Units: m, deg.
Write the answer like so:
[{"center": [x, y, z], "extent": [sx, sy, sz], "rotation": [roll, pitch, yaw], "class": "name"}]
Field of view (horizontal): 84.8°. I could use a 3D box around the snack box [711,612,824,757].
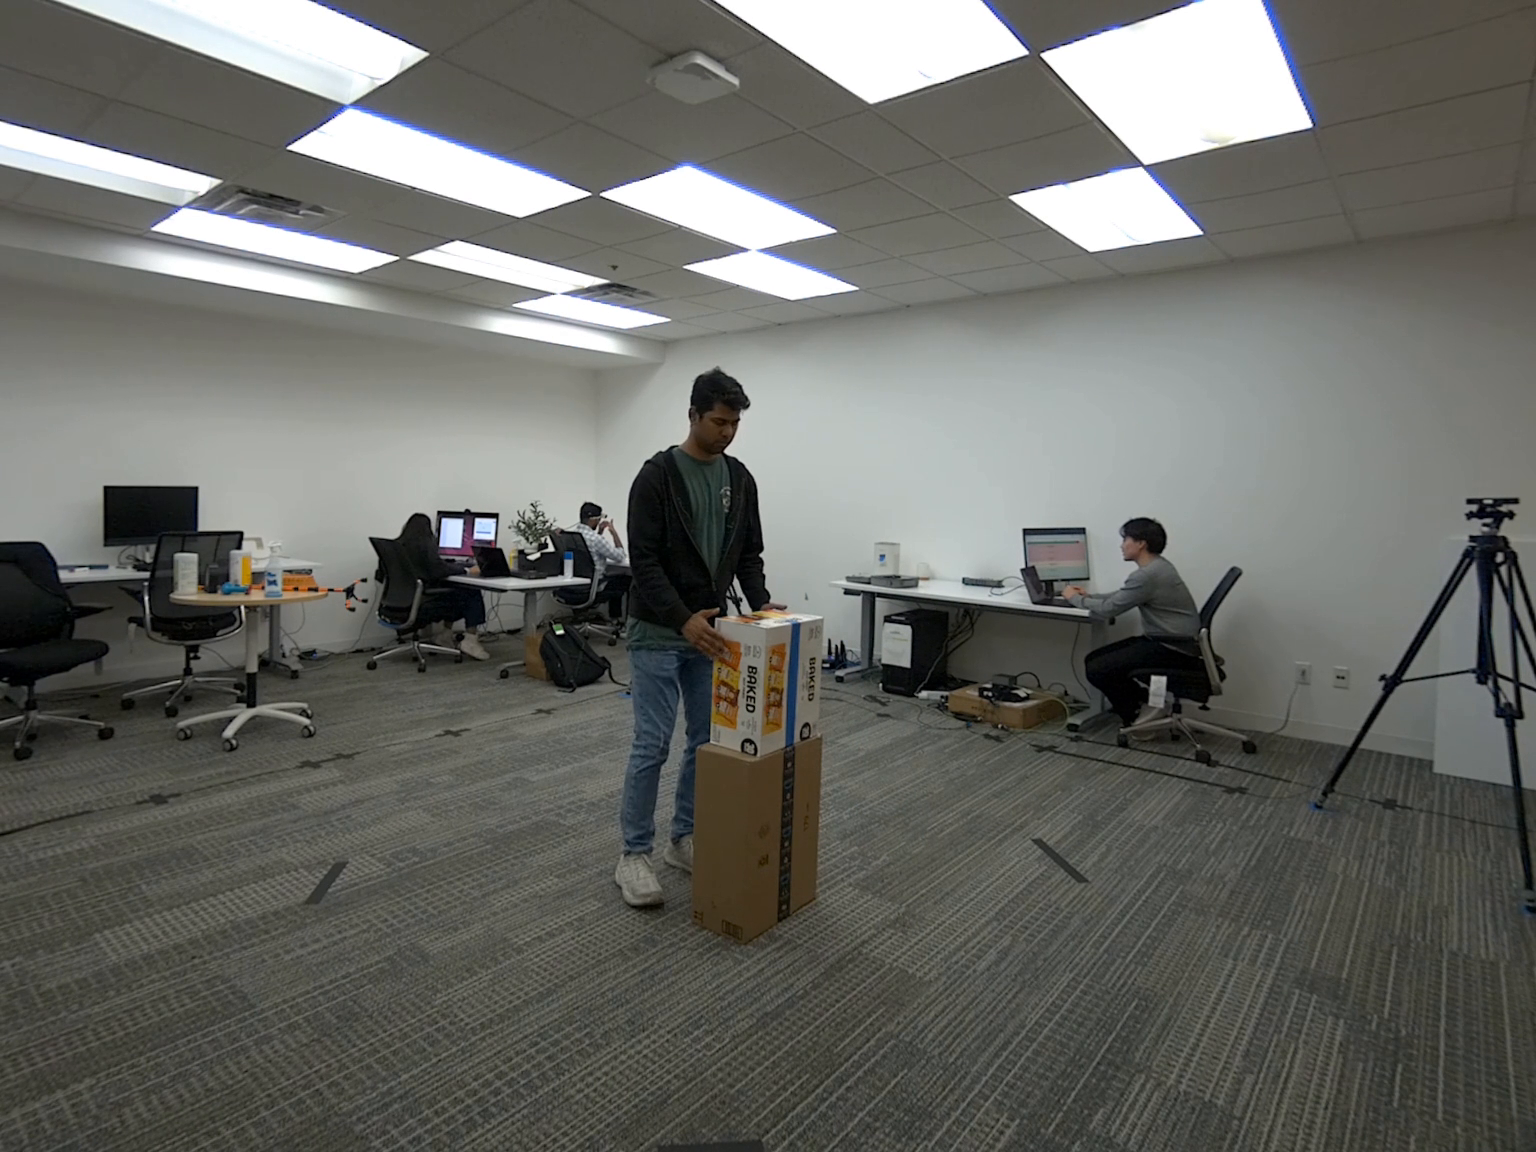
[{"center": [-0.012, 0.333, 2.787], "extent": [0.213, 0.403, 0.330], "rotation": [7, 6, 37], "class": "snack box"}]
